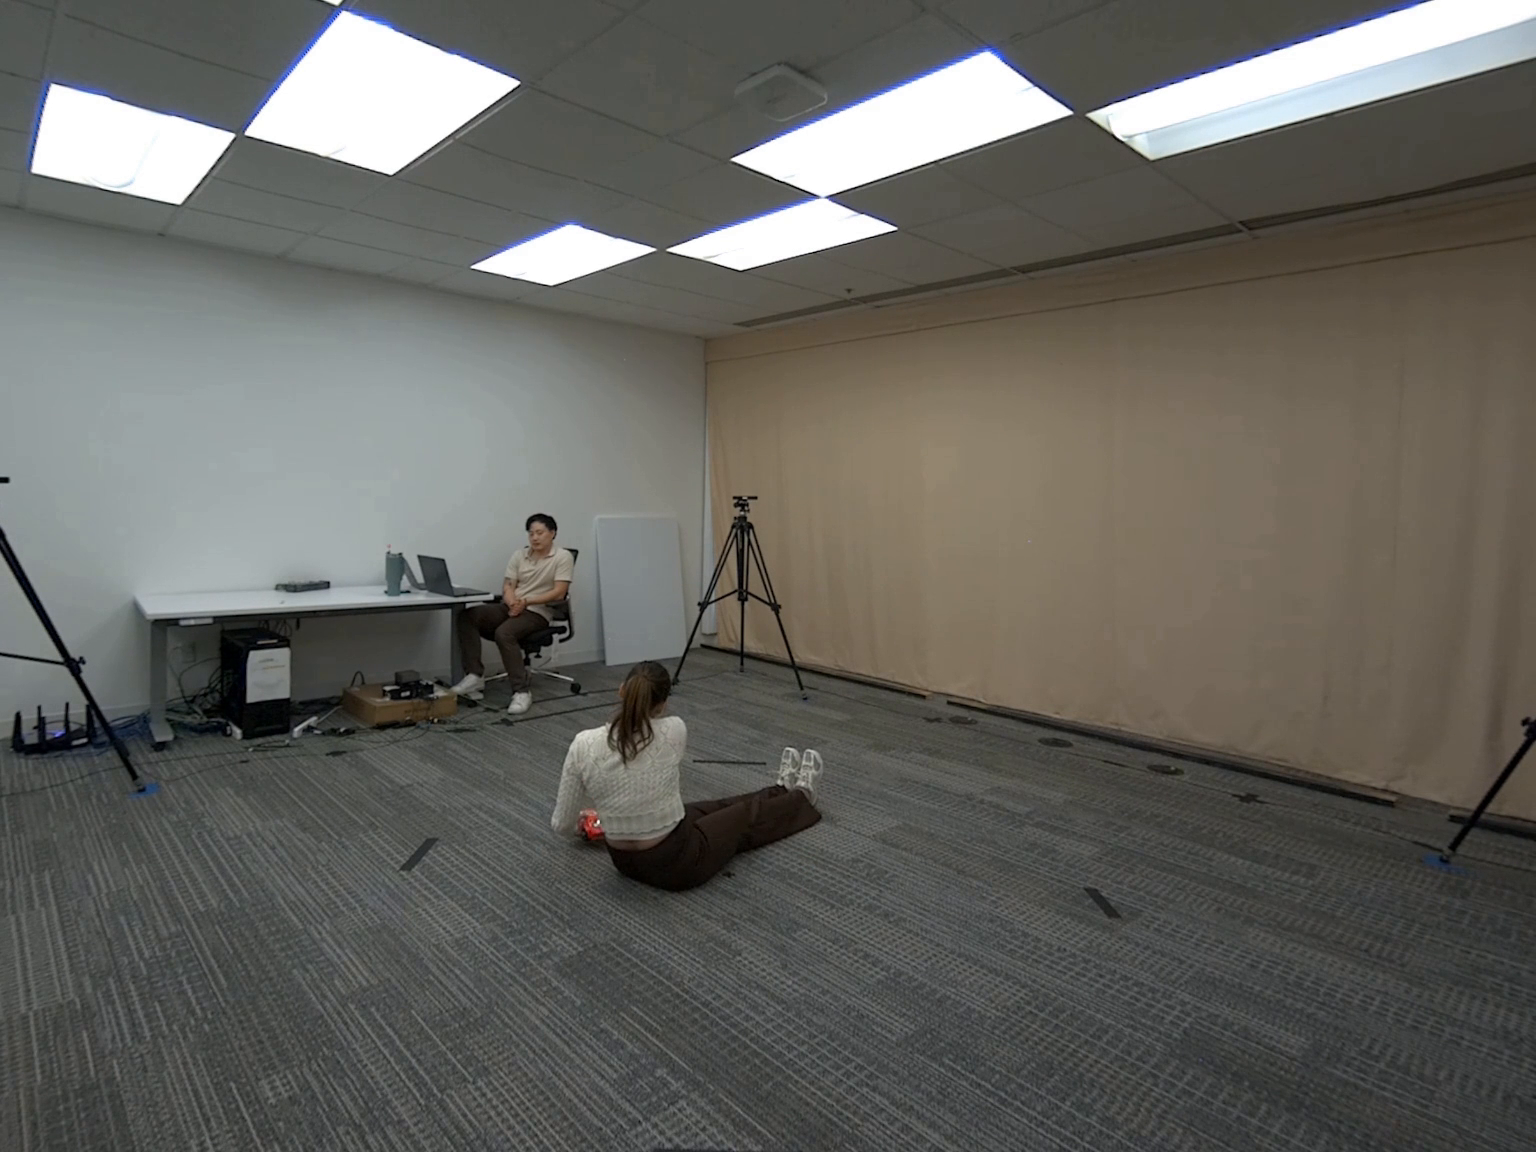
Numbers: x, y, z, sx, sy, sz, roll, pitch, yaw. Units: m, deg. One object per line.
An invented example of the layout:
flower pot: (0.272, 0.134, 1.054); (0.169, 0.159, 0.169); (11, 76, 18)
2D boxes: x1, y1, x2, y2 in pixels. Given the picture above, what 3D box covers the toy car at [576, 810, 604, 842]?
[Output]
toy car: (-0.712, 0.997, 3.391); (0.128, 0.083, 0.259); (-2, 0, -28)
